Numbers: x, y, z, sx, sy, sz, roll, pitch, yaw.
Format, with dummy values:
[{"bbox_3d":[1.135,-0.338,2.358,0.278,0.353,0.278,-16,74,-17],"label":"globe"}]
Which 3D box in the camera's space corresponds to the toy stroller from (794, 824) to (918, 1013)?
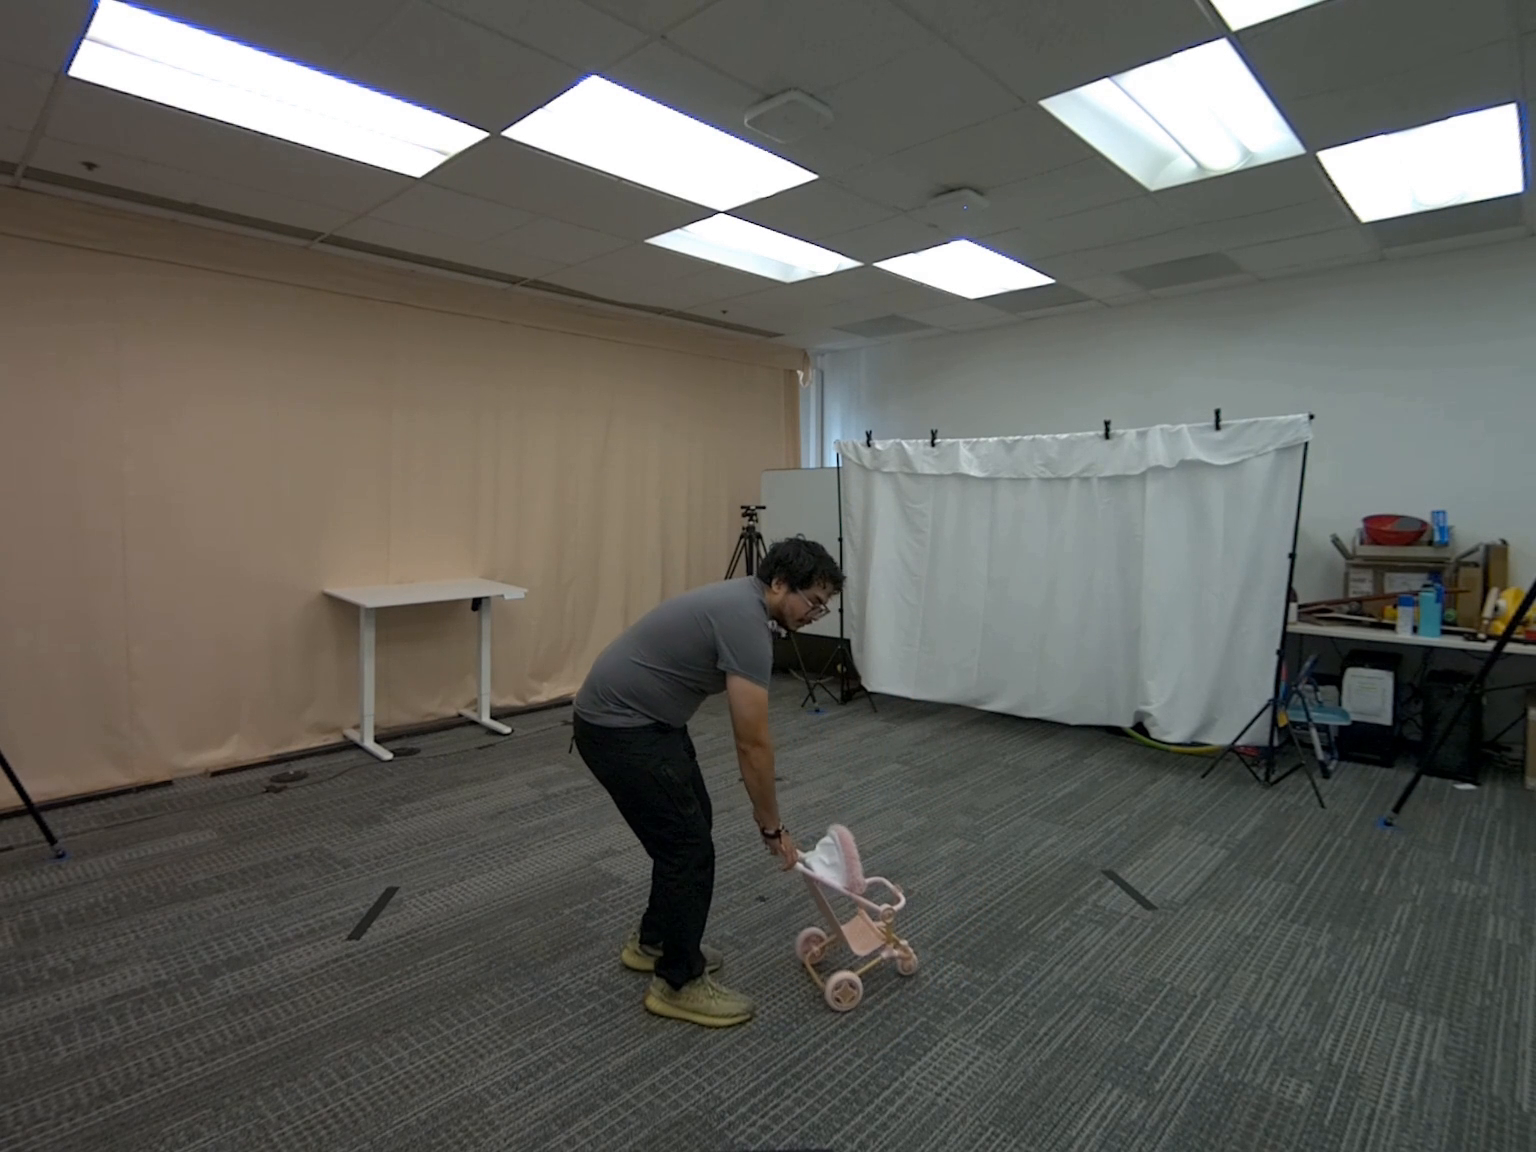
[{"bbox_3d":[0.240,0.964,2.441,0.338,0.532,0.285,-17,6,-10],"label":"toy stroller"}]
